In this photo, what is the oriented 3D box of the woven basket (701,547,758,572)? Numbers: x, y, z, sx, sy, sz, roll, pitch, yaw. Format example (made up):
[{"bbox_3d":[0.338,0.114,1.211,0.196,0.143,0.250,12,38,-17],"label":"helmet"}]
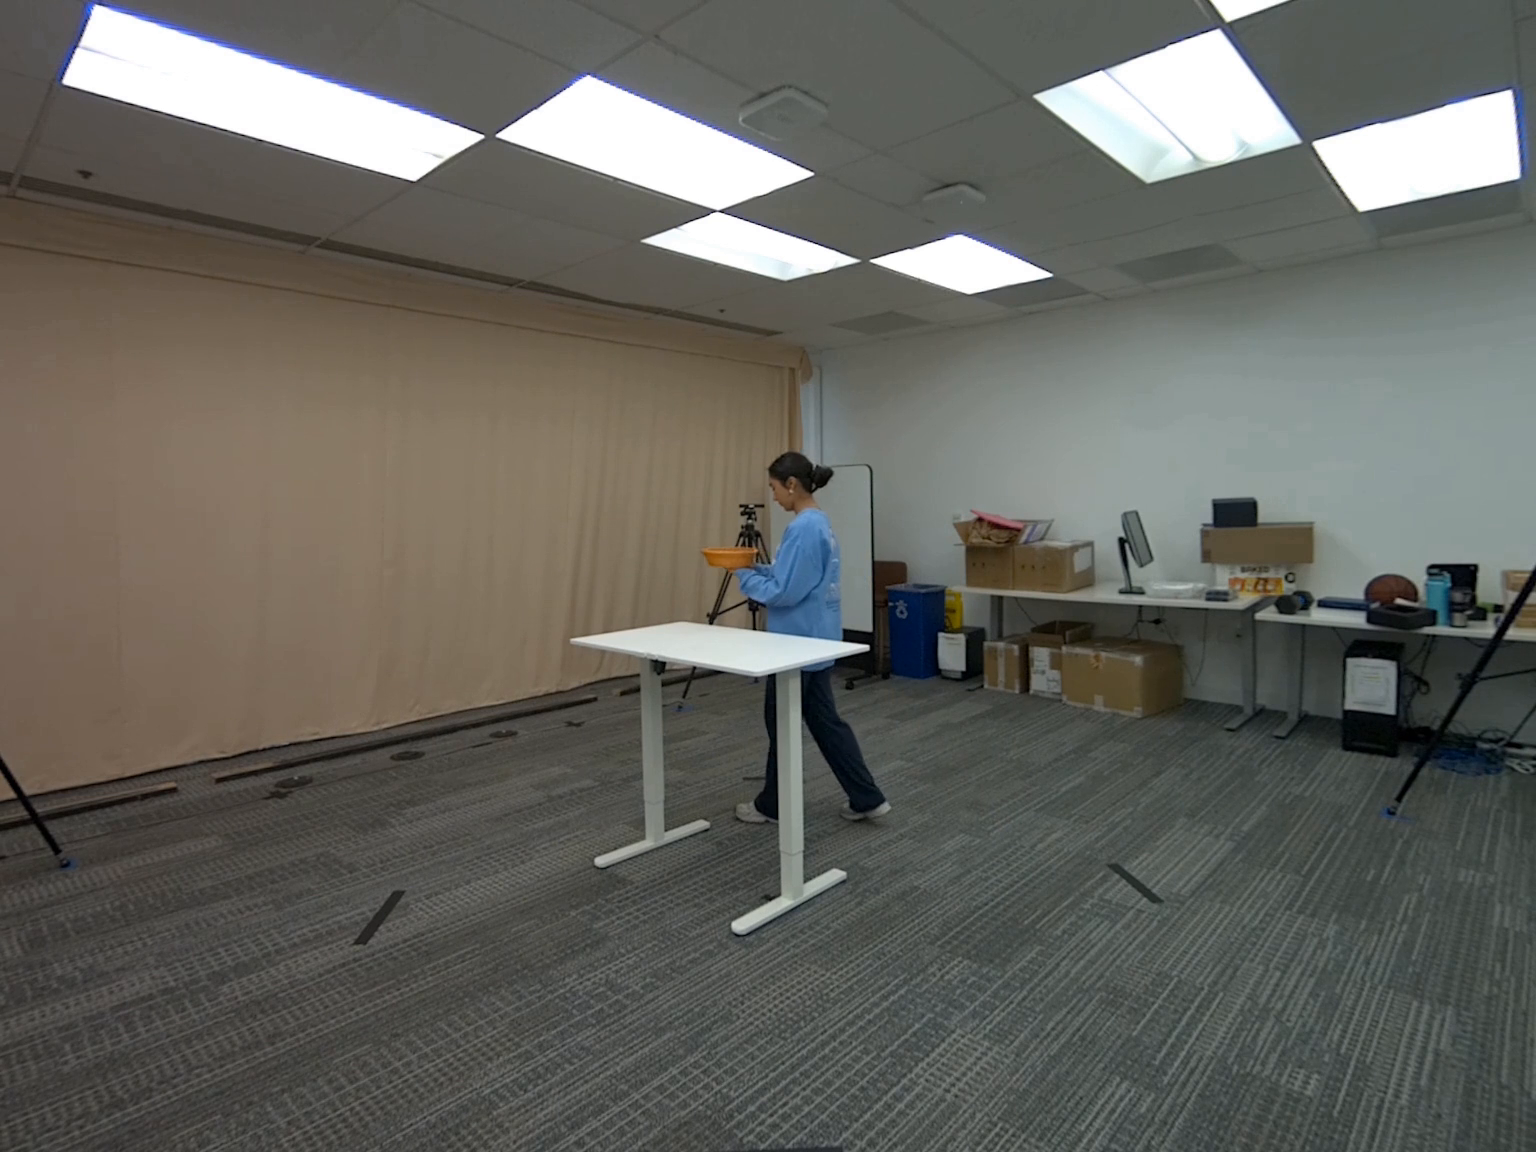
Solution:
[{"bbox_3d":[-0.148,-0.080,3.739,0.252,0.073,0.352,1,5,-2],"label":"woven basket"}]
